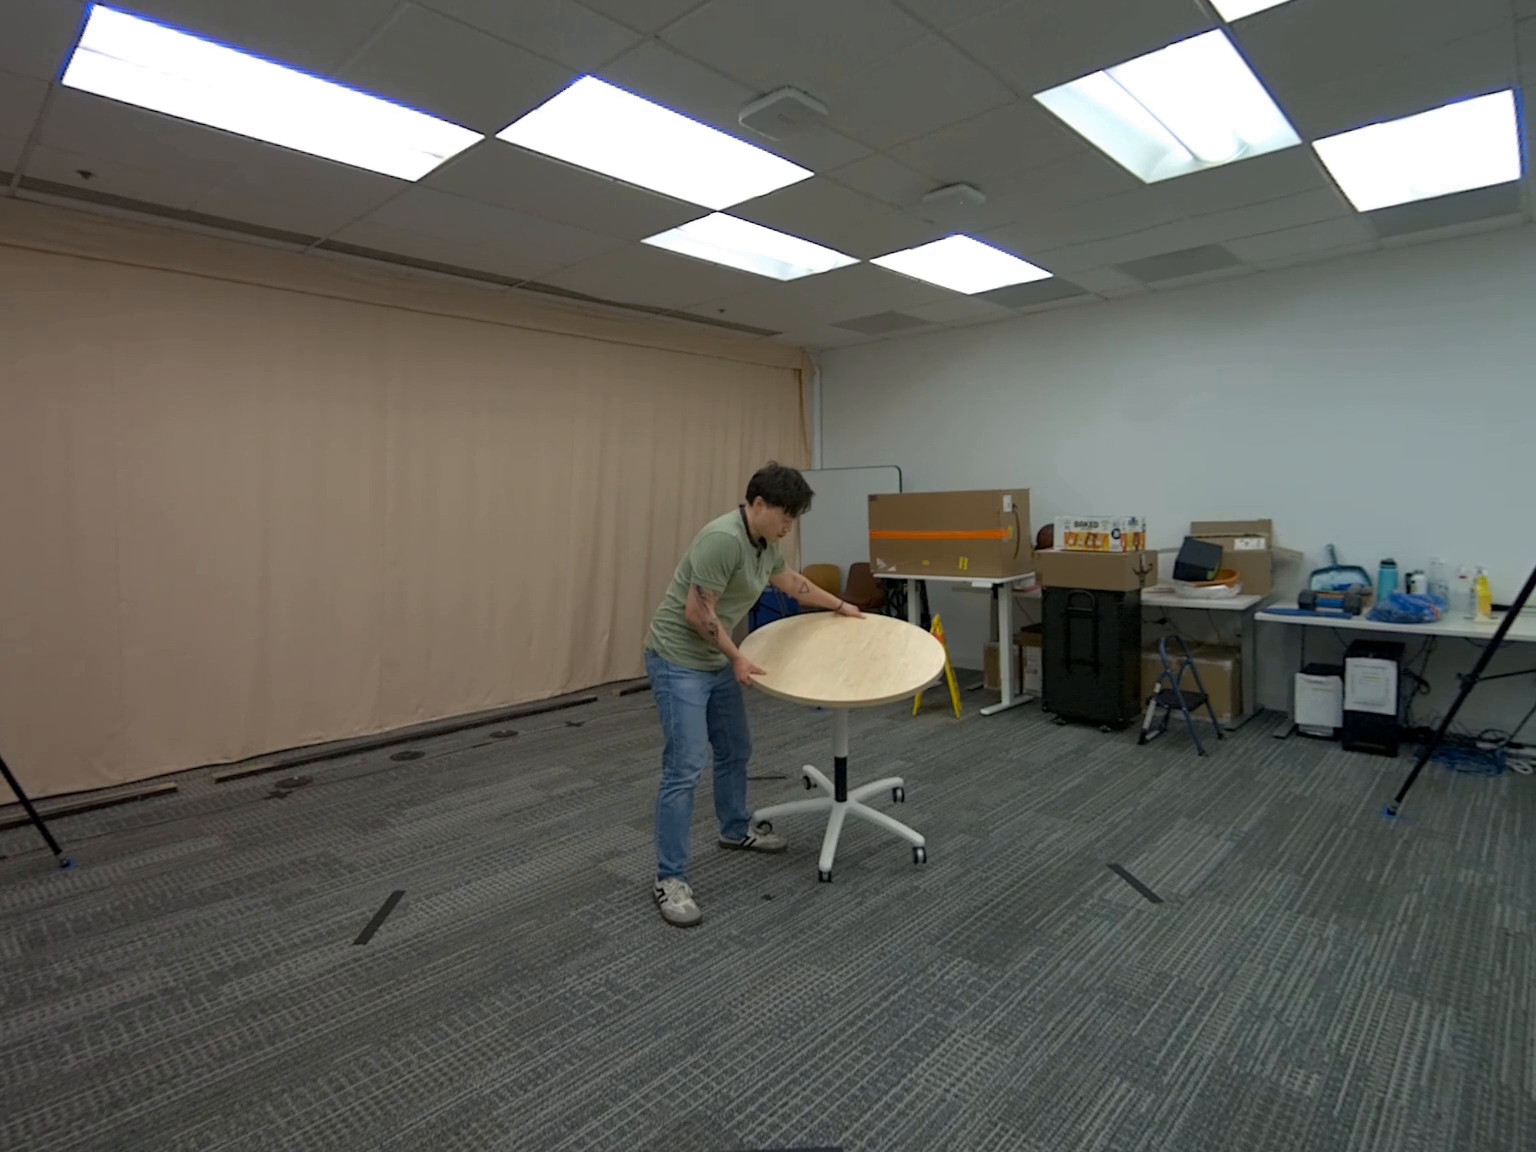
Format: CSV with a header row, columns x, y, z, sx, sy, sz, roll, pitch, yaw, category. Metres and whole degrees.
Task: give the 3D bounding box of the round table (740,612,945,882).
x,y,z,sx,sy,sz,roll,pitch,yaw,category
0.292,0.648,3.273,0.764,0.784,0.773,-3,19,-1,round table
